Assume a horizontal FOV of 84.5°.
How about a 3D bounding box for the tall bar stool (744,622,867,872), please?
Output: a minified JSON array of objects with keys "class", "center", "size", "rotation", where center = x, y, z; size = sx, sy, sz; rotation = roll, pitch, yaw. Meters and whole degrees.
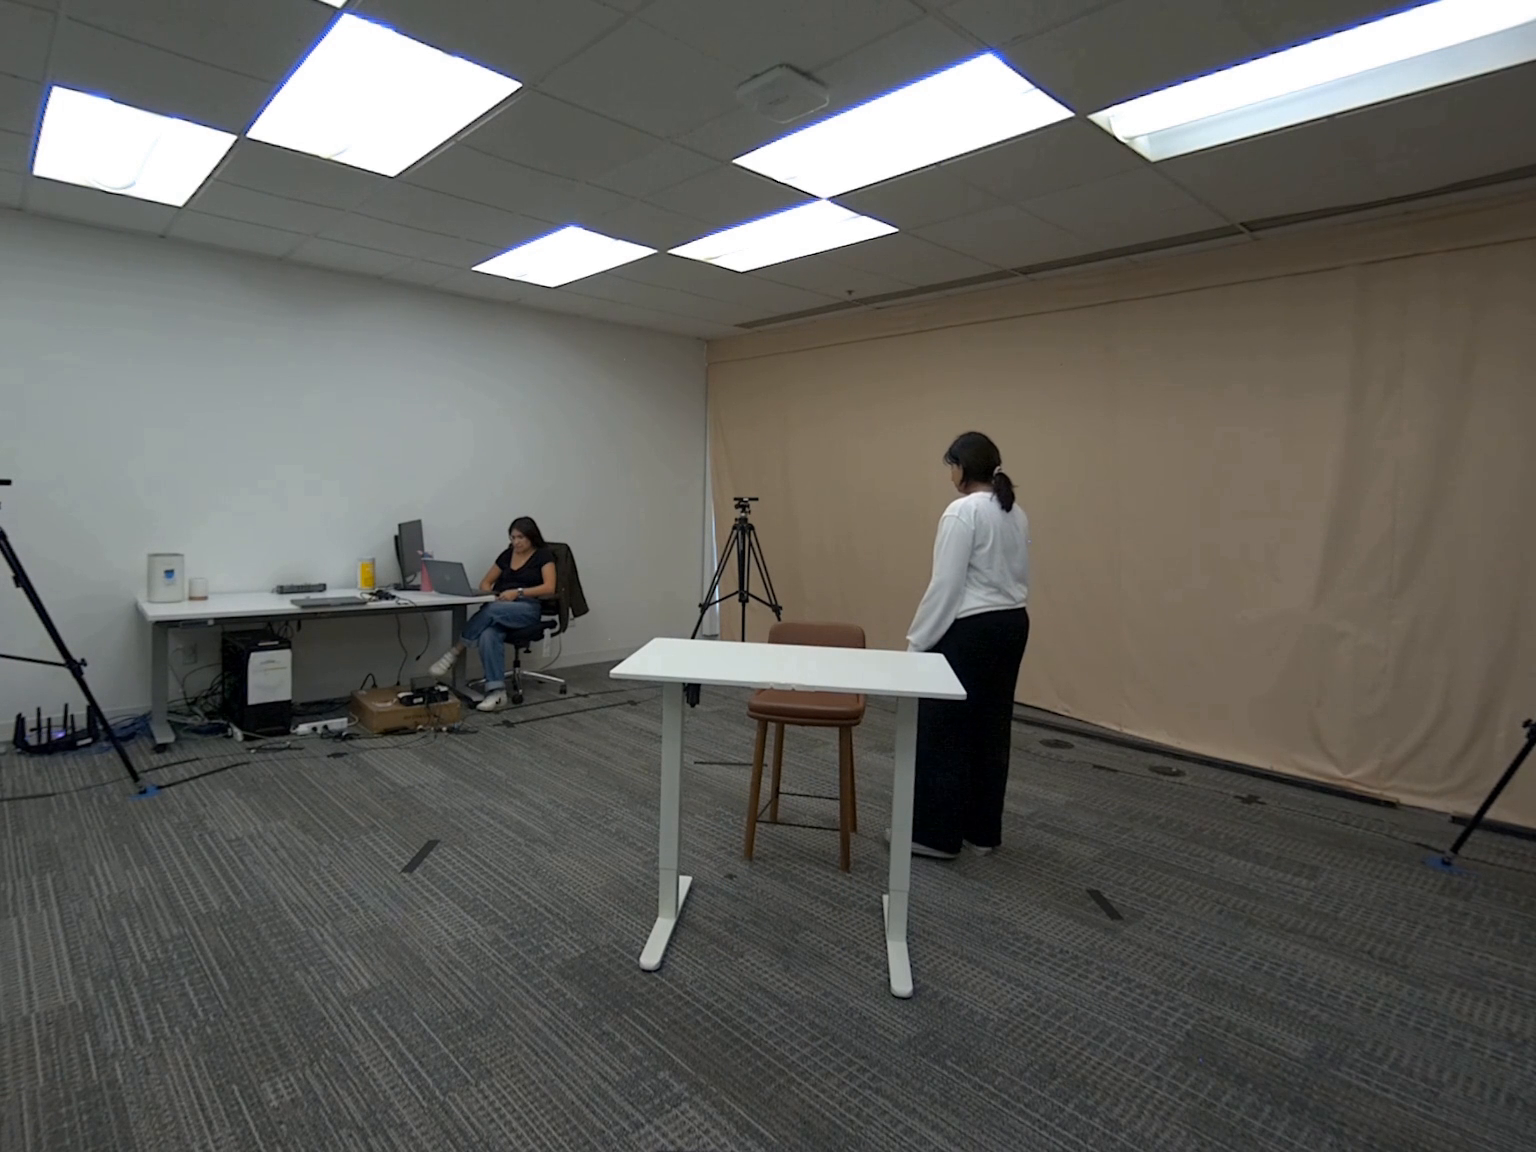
[{"class":"tall bar stool","center":[0.157,0.655,3.400],"size":[0.462,0.889,0.462],"rotation":[3,1,14]}]
